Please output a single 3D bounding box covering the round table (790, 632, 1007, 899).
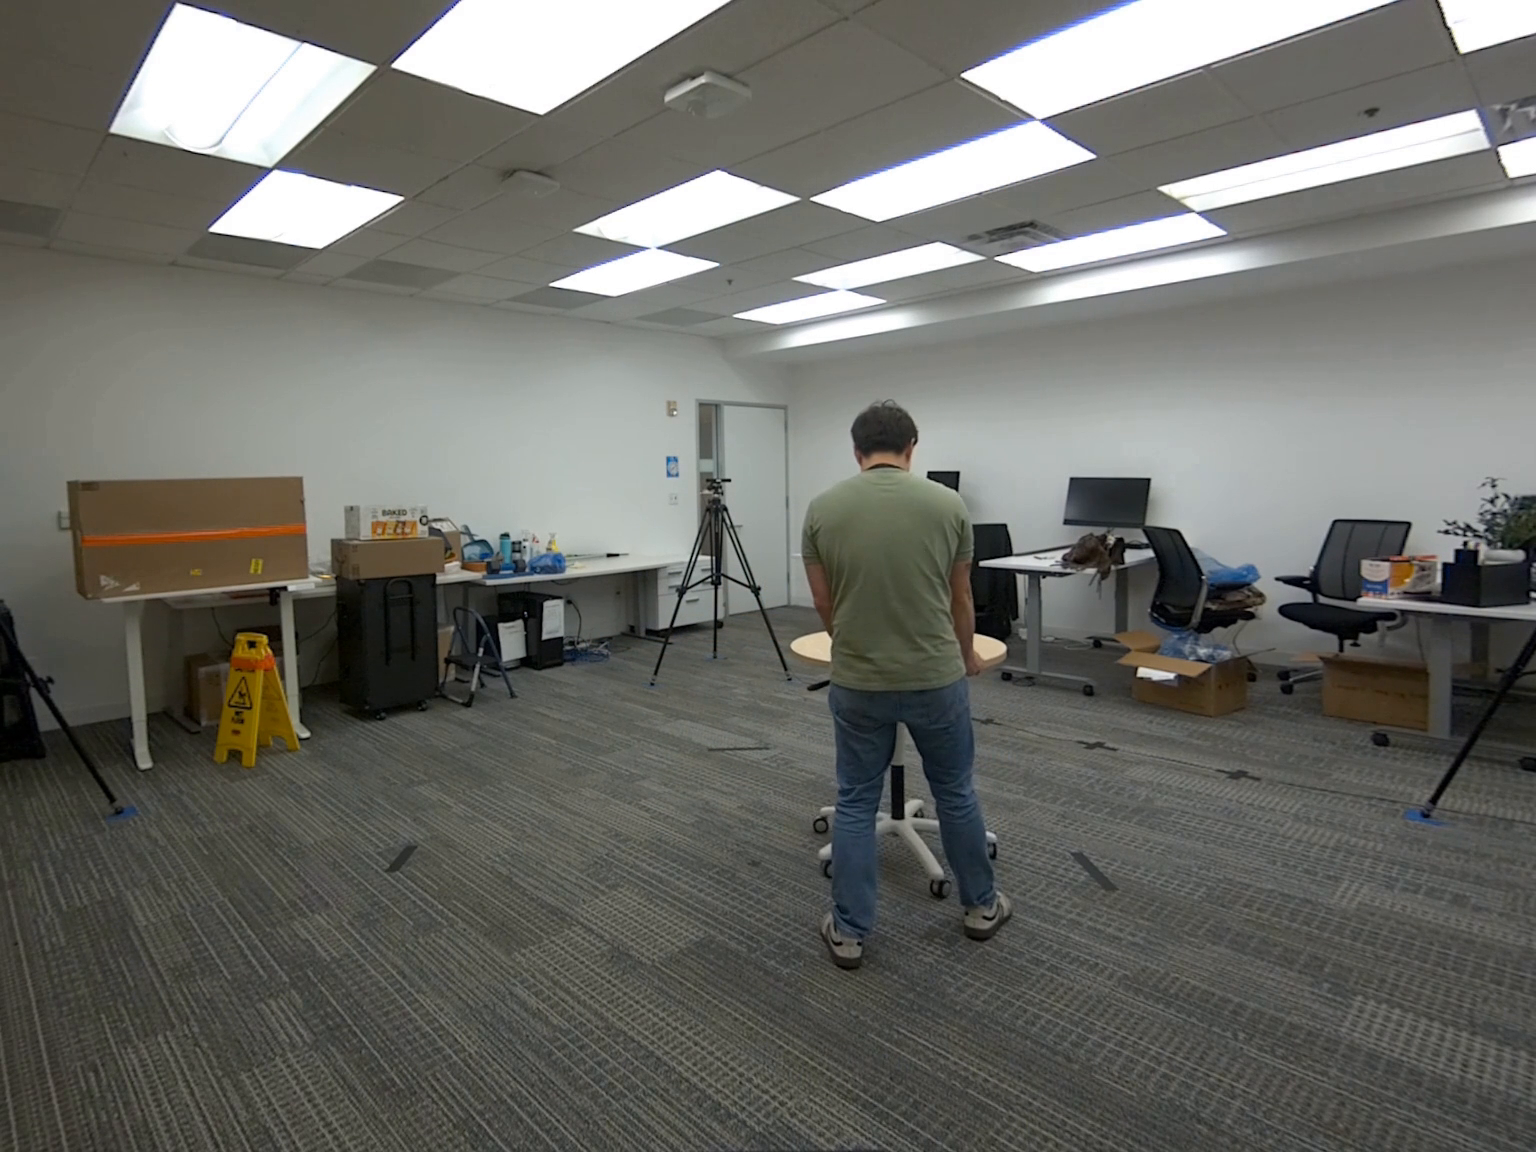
[{"bbox_3d":[0.479,0.643,3.136,0.763,0.791,0.768,-2,5,-2],"label":"round table"}]
